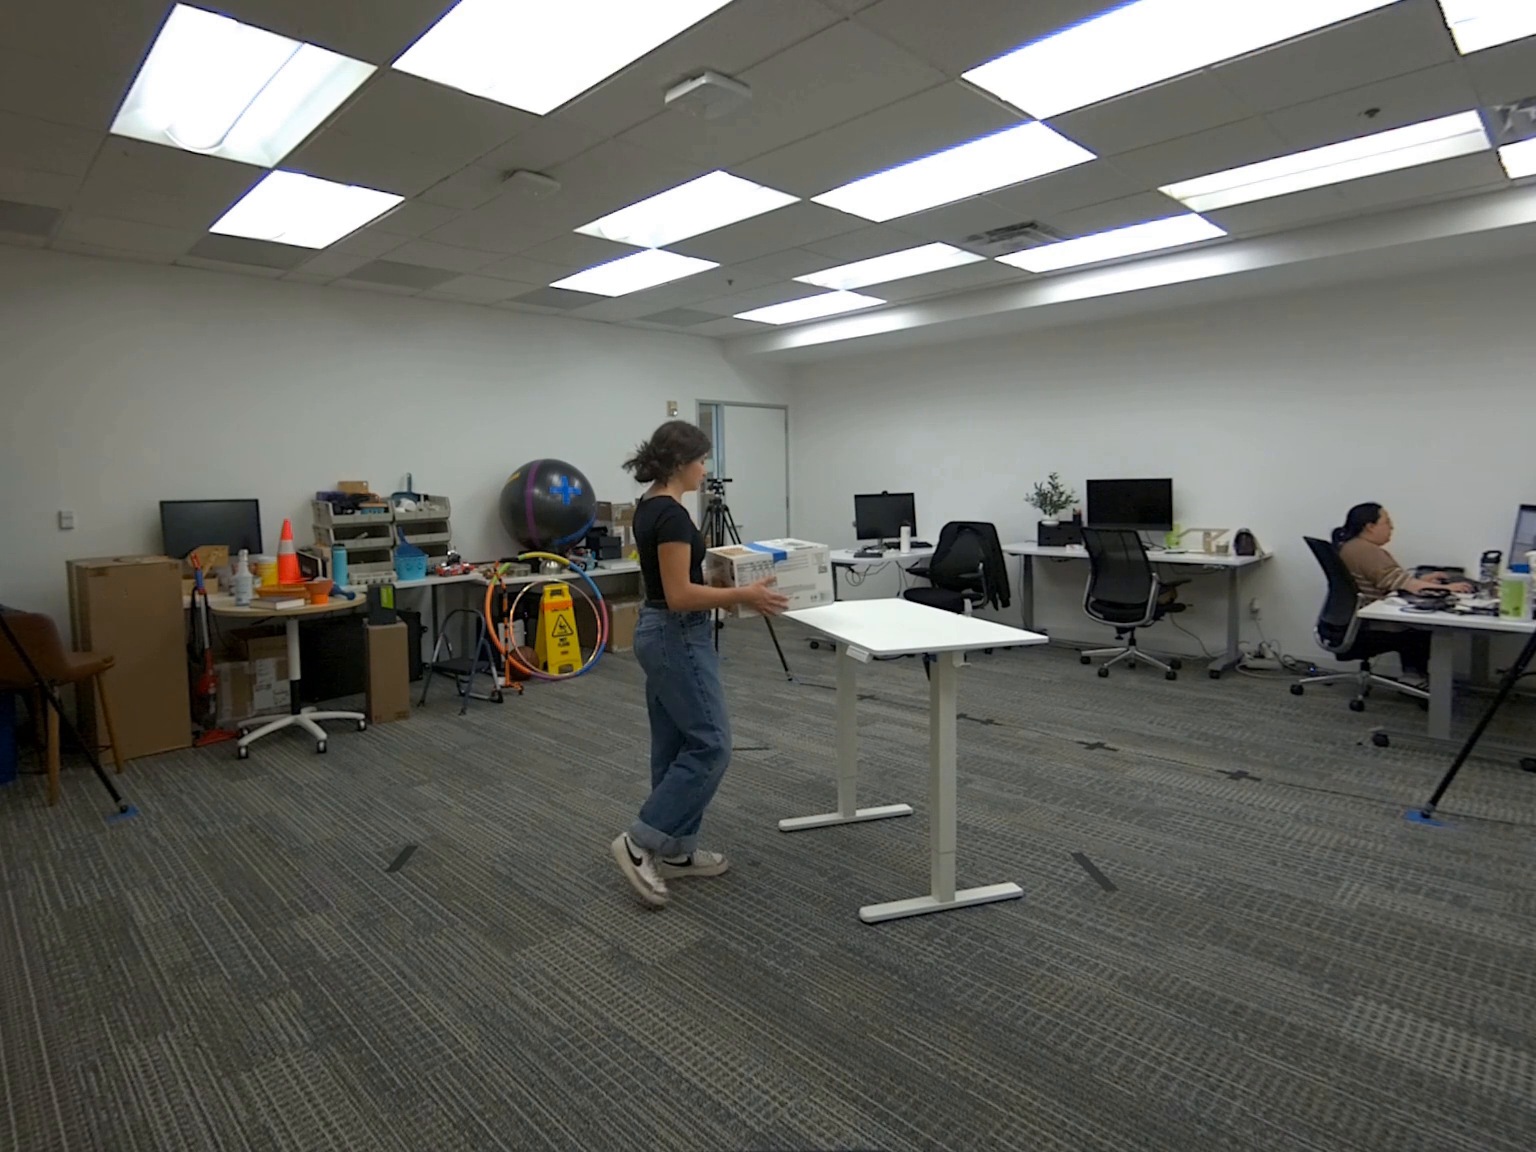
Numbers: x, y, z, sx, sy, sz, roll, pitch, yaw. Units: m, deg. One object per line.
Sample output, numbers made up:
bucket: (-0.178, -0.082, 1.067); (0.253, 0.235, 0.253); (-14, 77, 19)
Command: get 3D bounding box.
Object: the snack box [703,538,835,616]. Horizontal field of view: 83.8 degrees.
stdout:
snack box: (-0.007, 0.001, 3.022); (0.336, 0.204, 0.413); (-8, 8, -16)
